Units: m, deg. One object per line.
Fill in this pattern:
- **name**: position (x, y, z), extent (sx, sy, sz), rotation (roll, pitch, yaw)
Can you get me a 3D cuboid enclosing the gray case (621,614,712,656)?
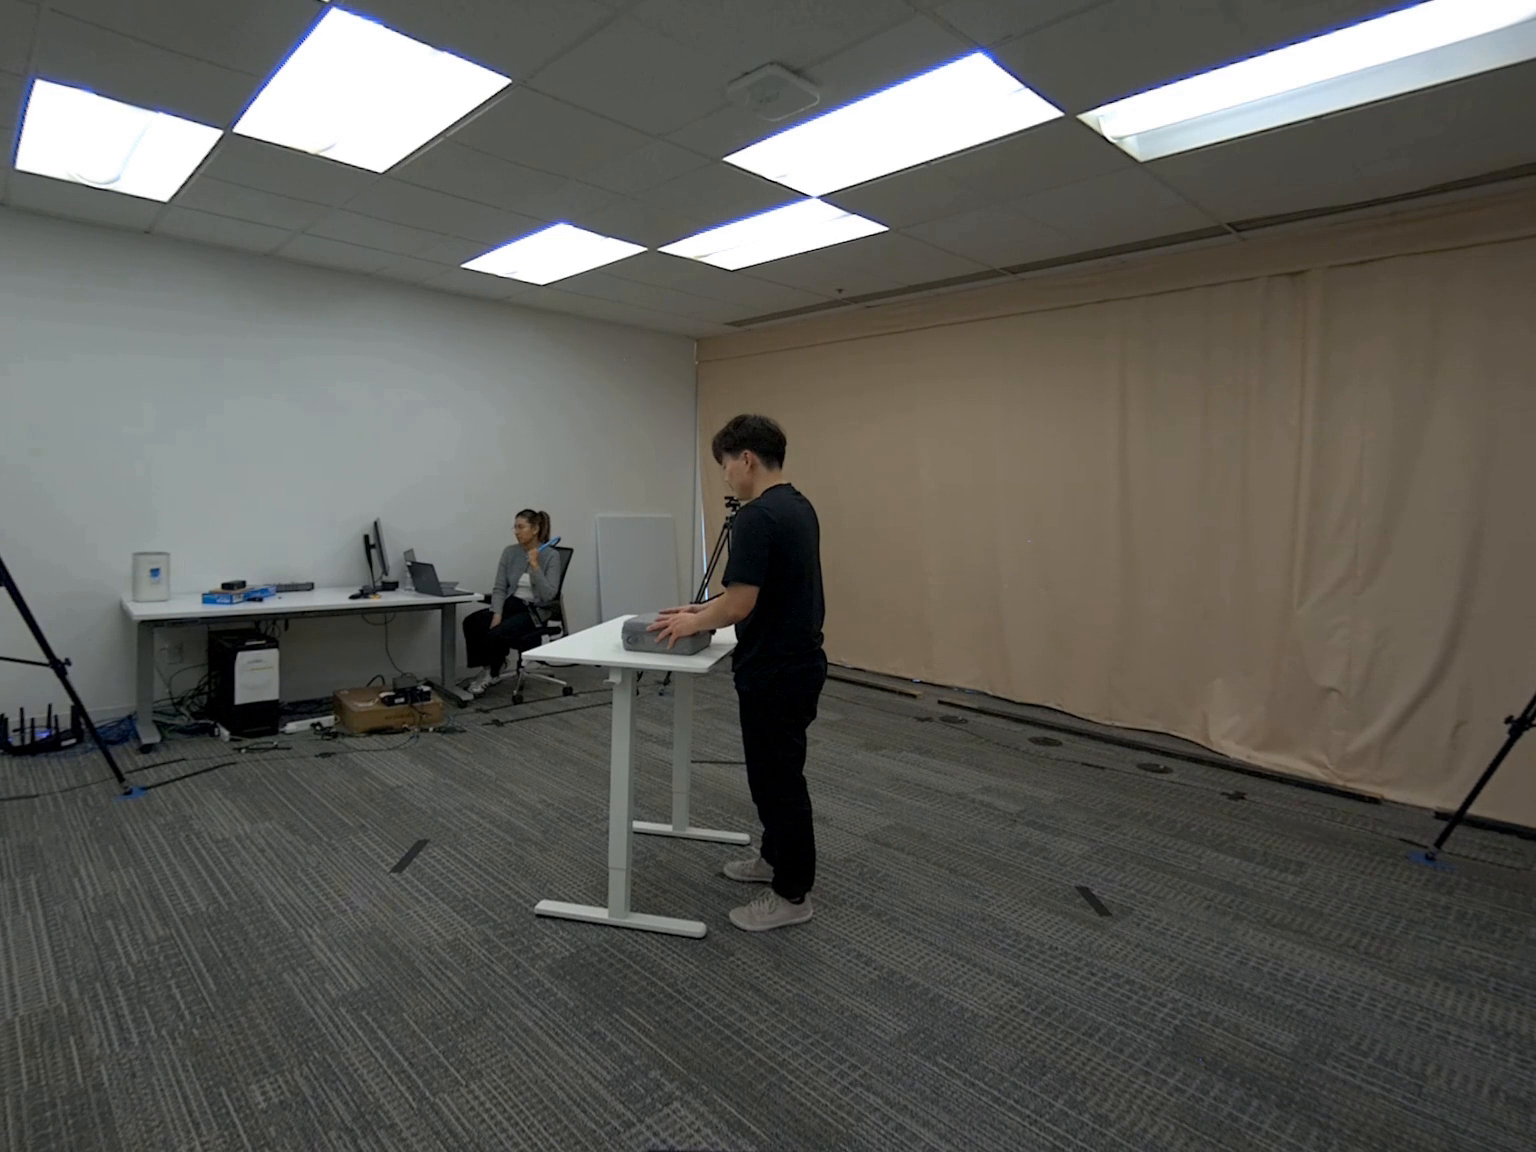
- **gray case**: position (-0.346, 0.191, 2.834), extent (0.264, 0.104, 0.254), rotation (4, 7, 16)
